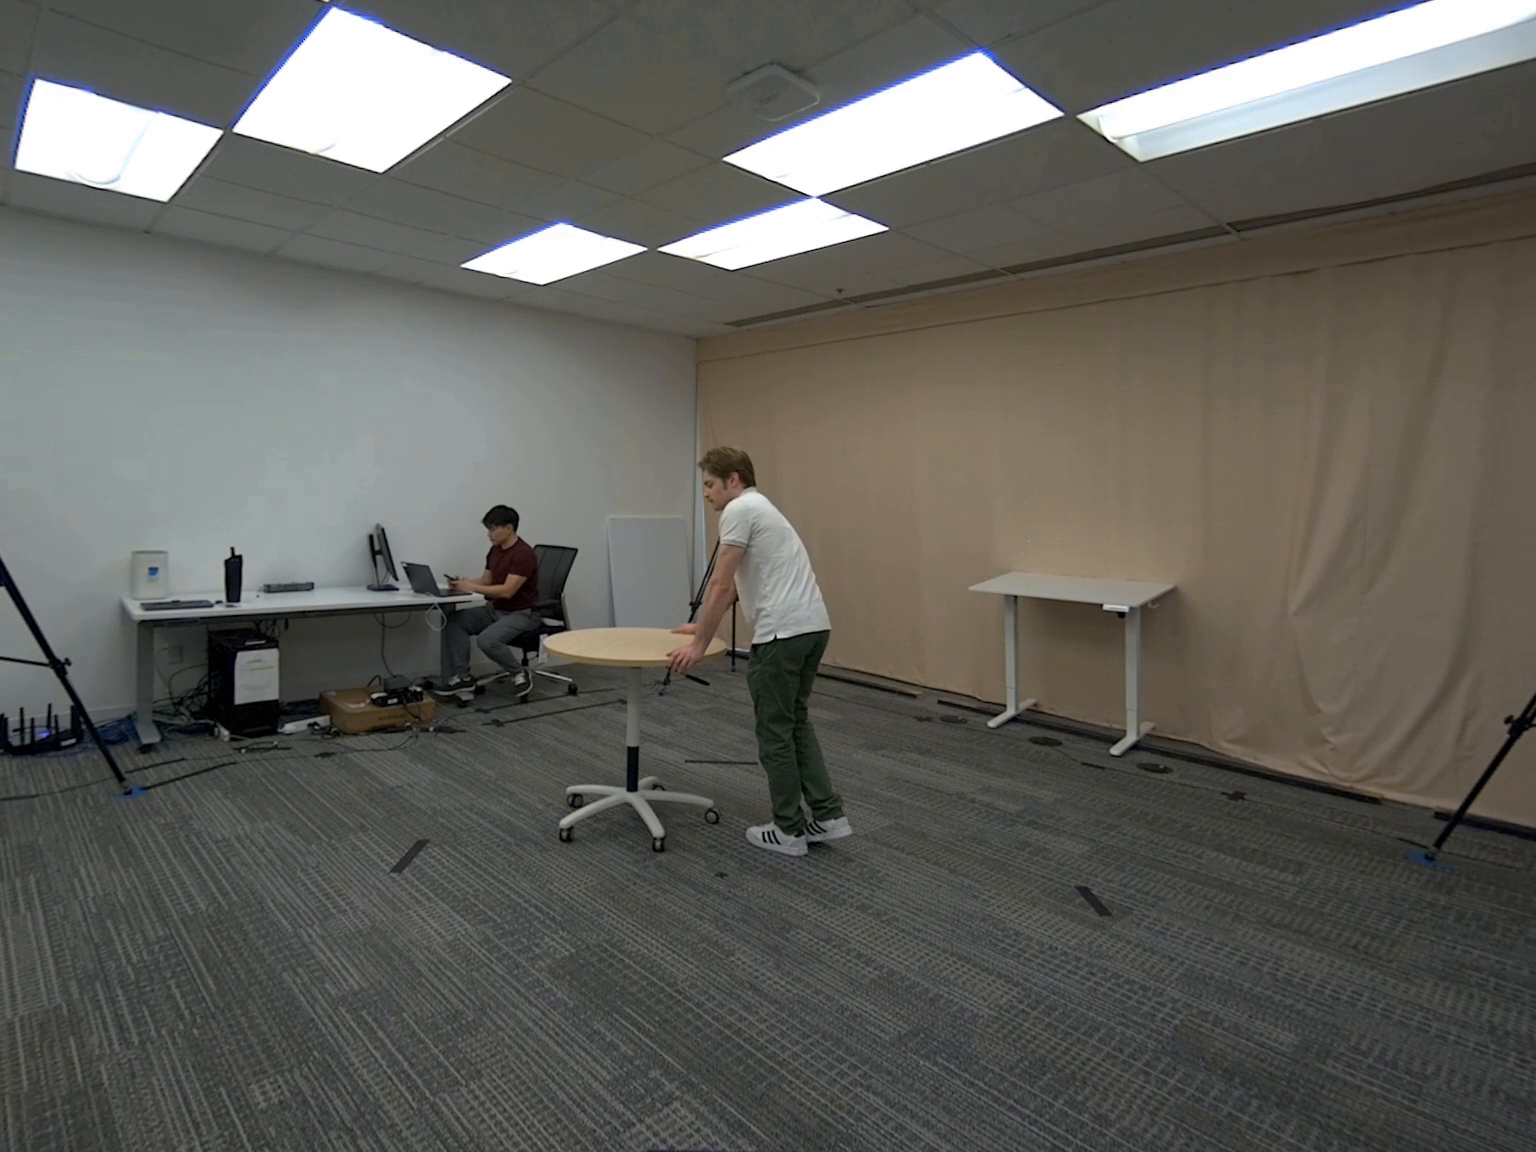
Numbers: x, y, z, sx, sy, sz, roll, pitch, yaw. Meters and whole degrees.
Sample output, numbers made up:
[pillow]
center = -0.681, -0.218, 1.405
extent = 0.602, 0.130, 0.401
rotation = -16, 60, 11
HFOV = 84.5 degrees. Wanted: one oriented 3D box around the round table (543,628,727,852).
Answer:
[round table]
center = -0.577, 0.666, 3.565
extent = 0.763, 0.792, 0.766
rotation = 2, 4, -1
